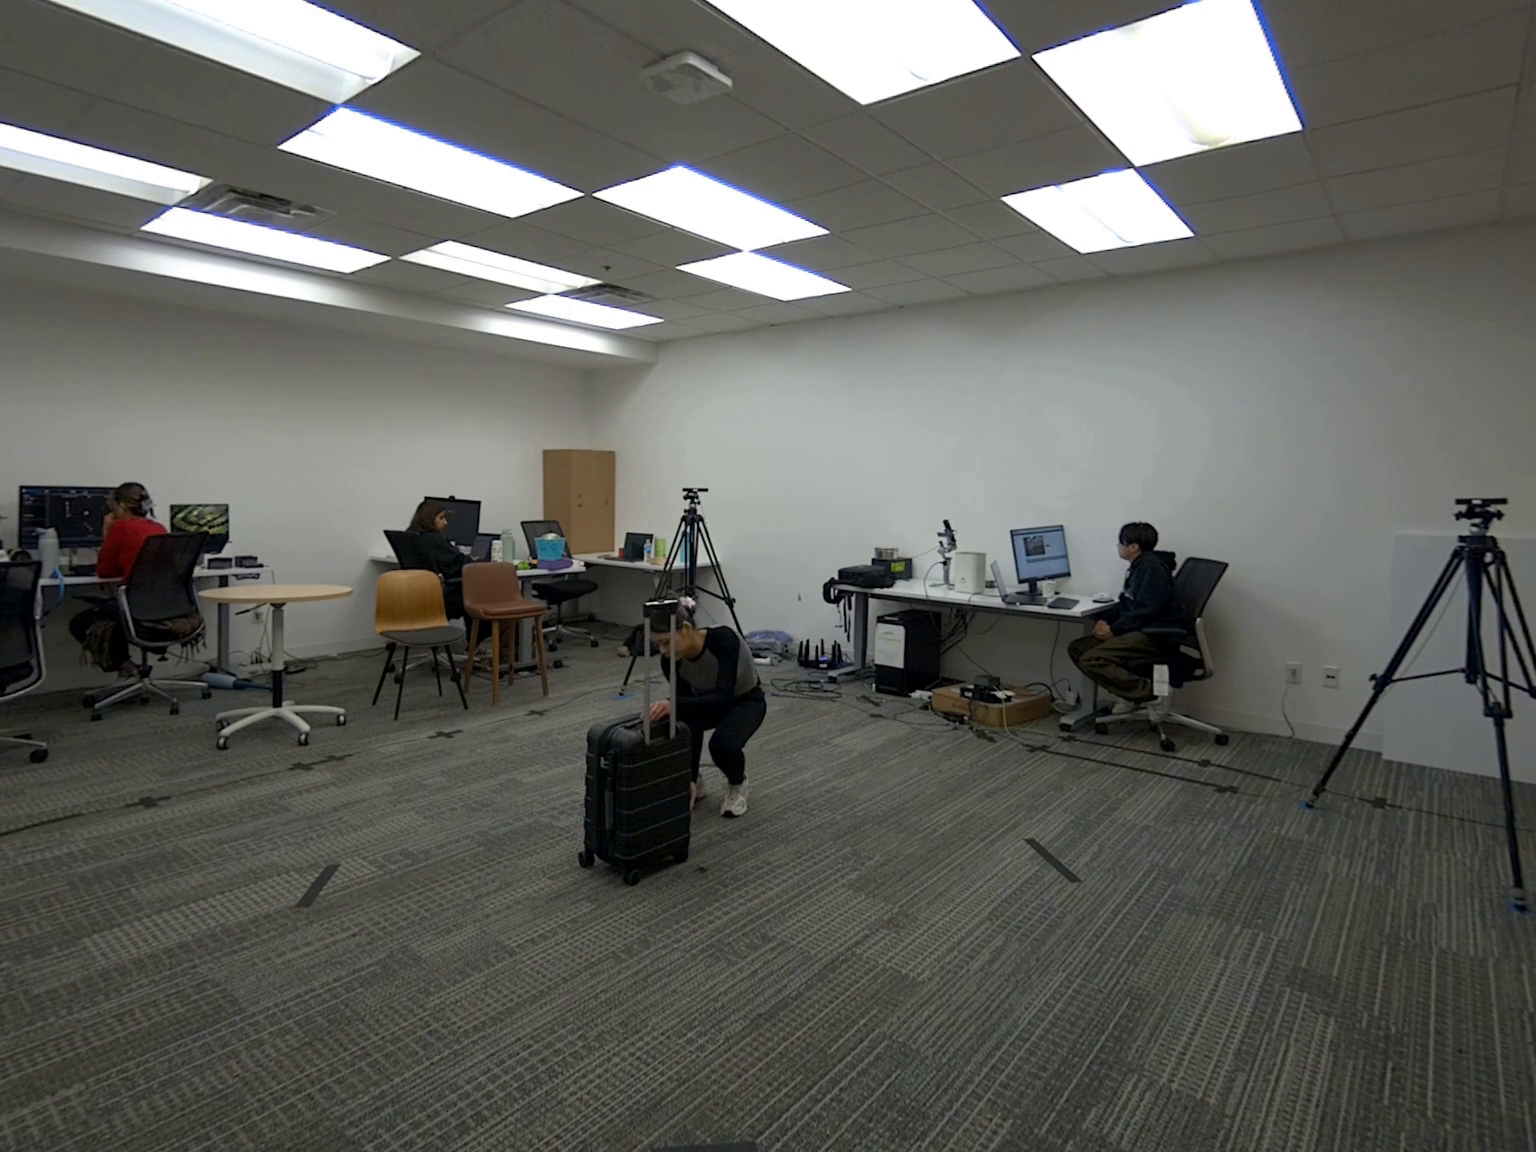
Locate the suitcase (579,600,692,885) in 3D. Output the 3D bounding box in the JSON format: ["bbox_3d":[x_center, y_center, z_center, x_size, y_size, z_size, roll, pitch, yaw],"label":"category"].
[{"bbox_3d":[-0.492,0.587,3.124,0.265,0.977,0.372,1,2,39],"label":"suitcase"}]
